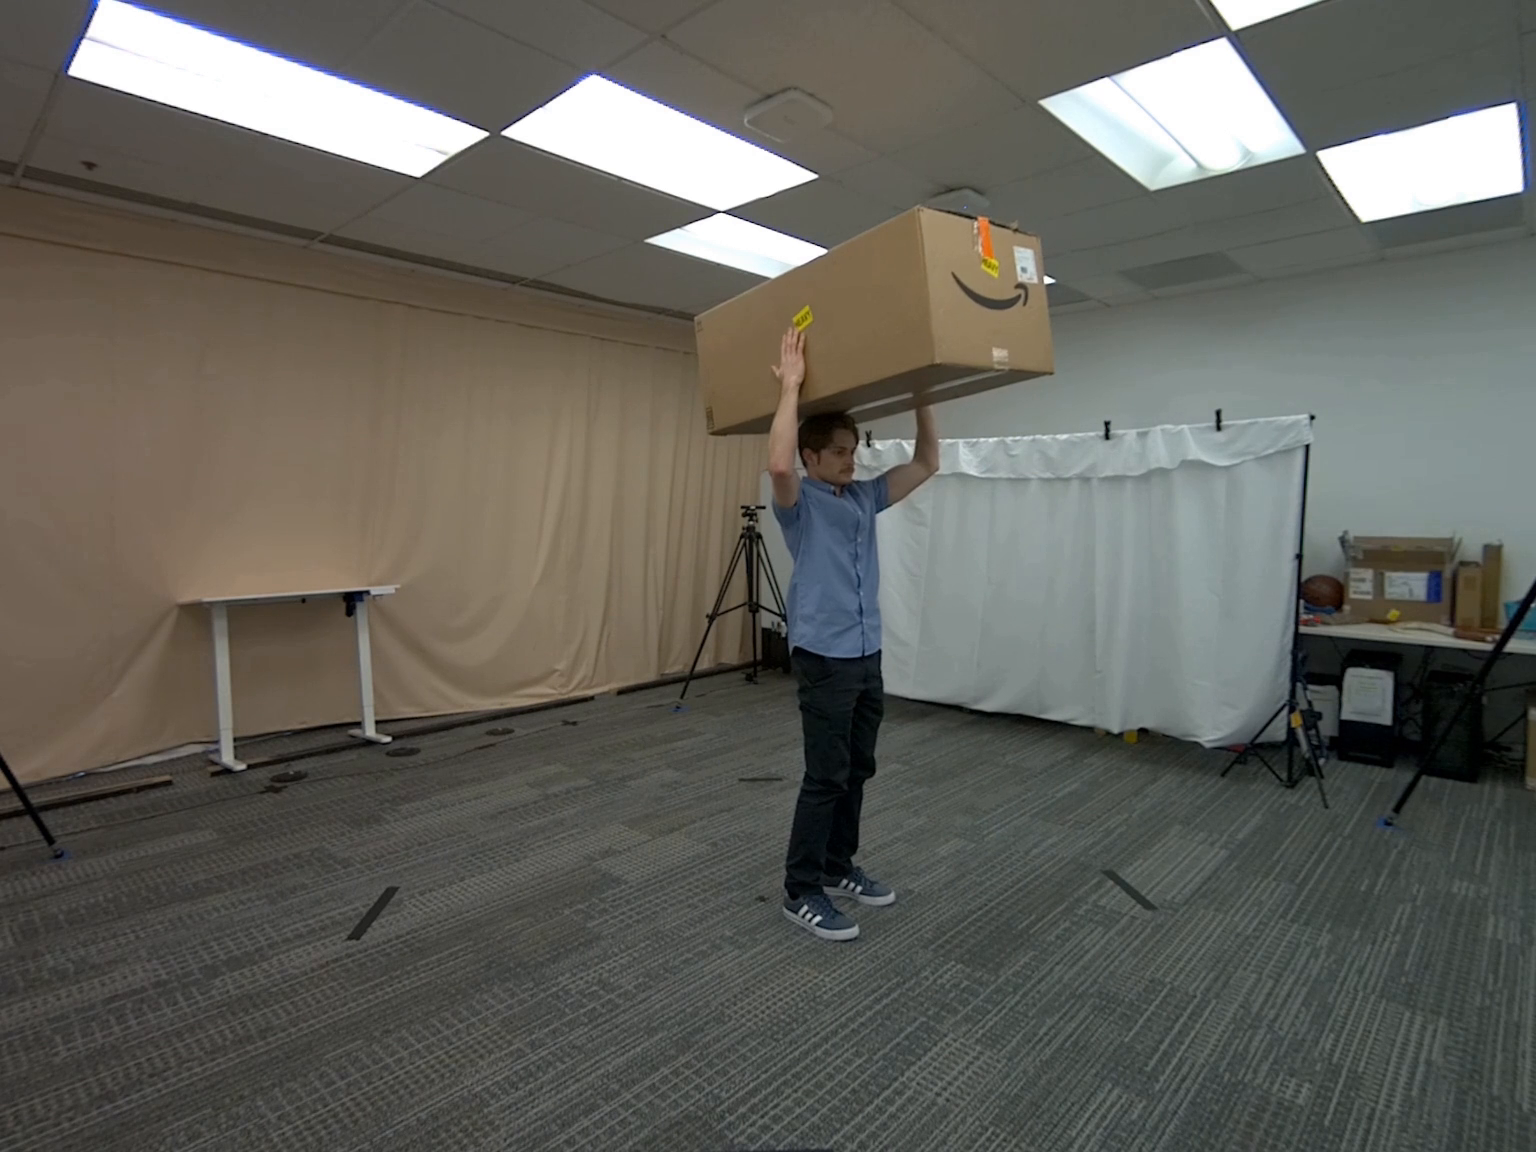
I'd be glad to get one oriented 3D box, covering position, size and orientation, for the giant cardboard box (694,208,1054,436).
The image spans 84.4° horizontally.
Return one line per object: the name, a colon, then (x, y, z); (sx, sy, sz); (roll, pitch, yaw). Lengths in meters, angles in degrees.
giant cardboard box: (0.309, -0.763, 2.776); (0.561, 0.426, 1.056); (-7, 2, -39)
